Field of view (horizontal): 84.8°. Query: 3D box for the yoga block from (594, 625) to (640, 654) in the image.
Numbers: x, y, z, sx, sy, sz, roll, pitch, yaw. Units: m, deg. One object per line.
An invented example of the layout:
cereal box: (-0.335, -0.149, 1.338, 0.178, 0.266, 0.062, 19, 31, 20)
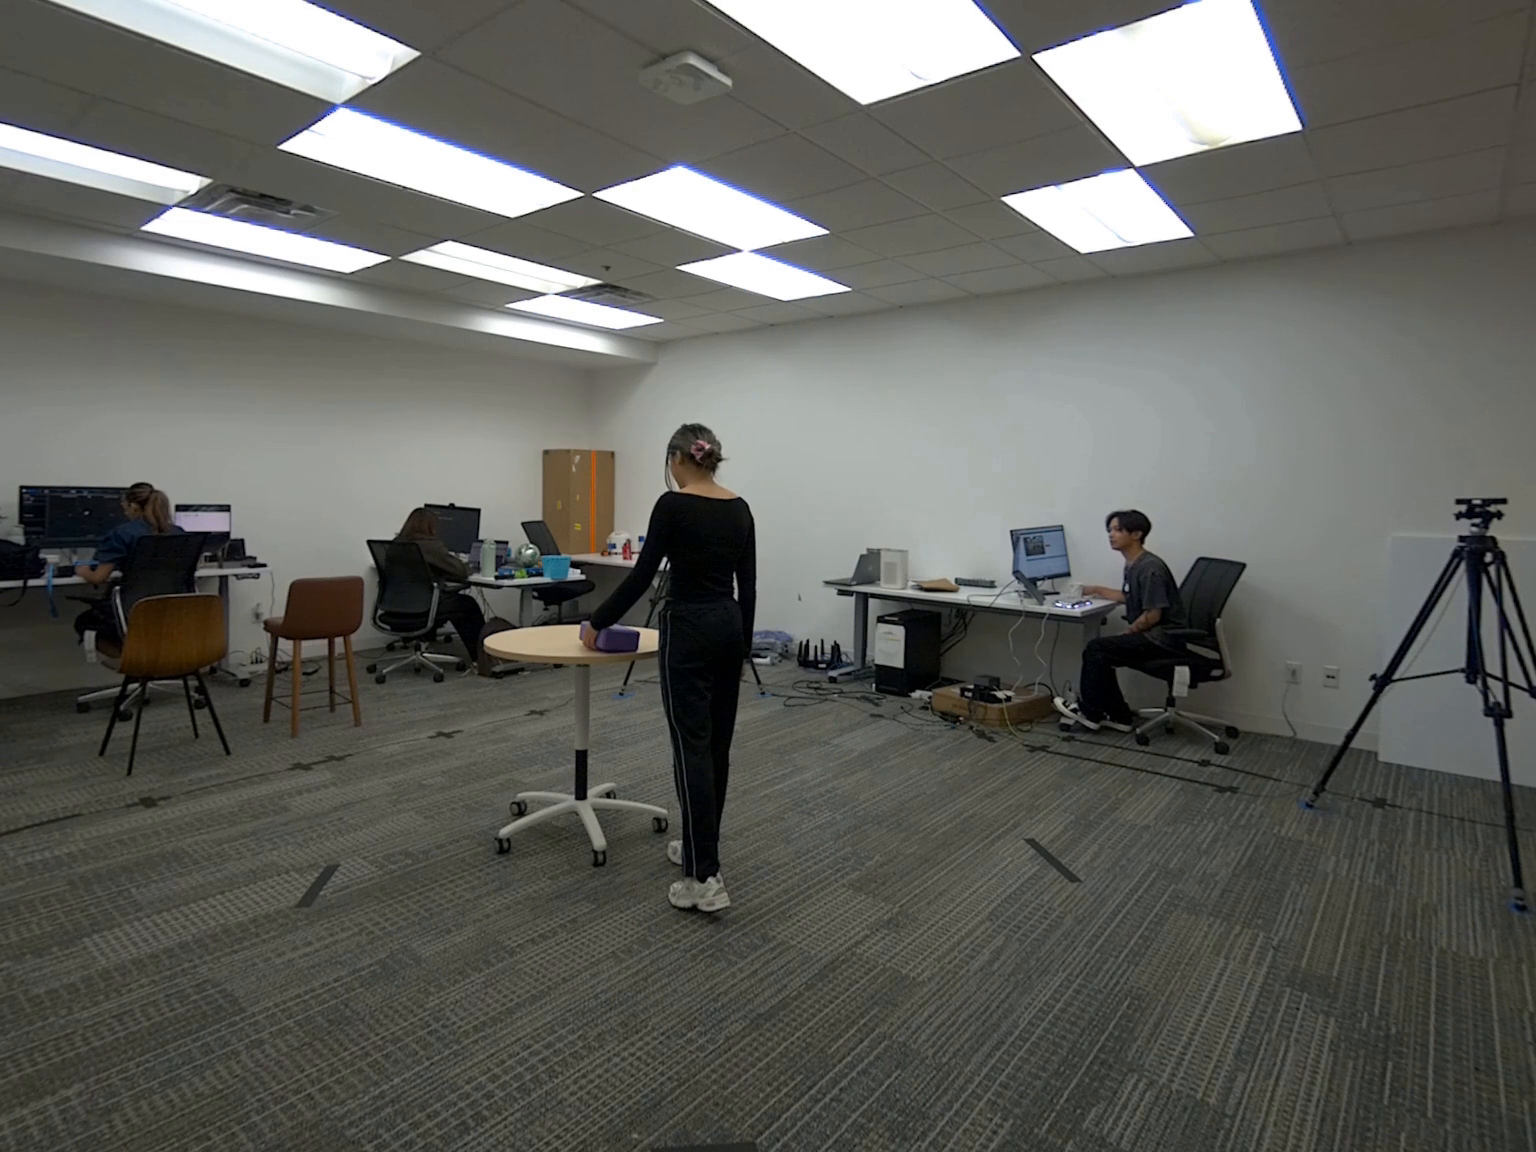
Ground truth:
yoga block: (-0.611, 0.224, 3.187, 0.144, 0.076, 0.236, 7, 1, -31)
